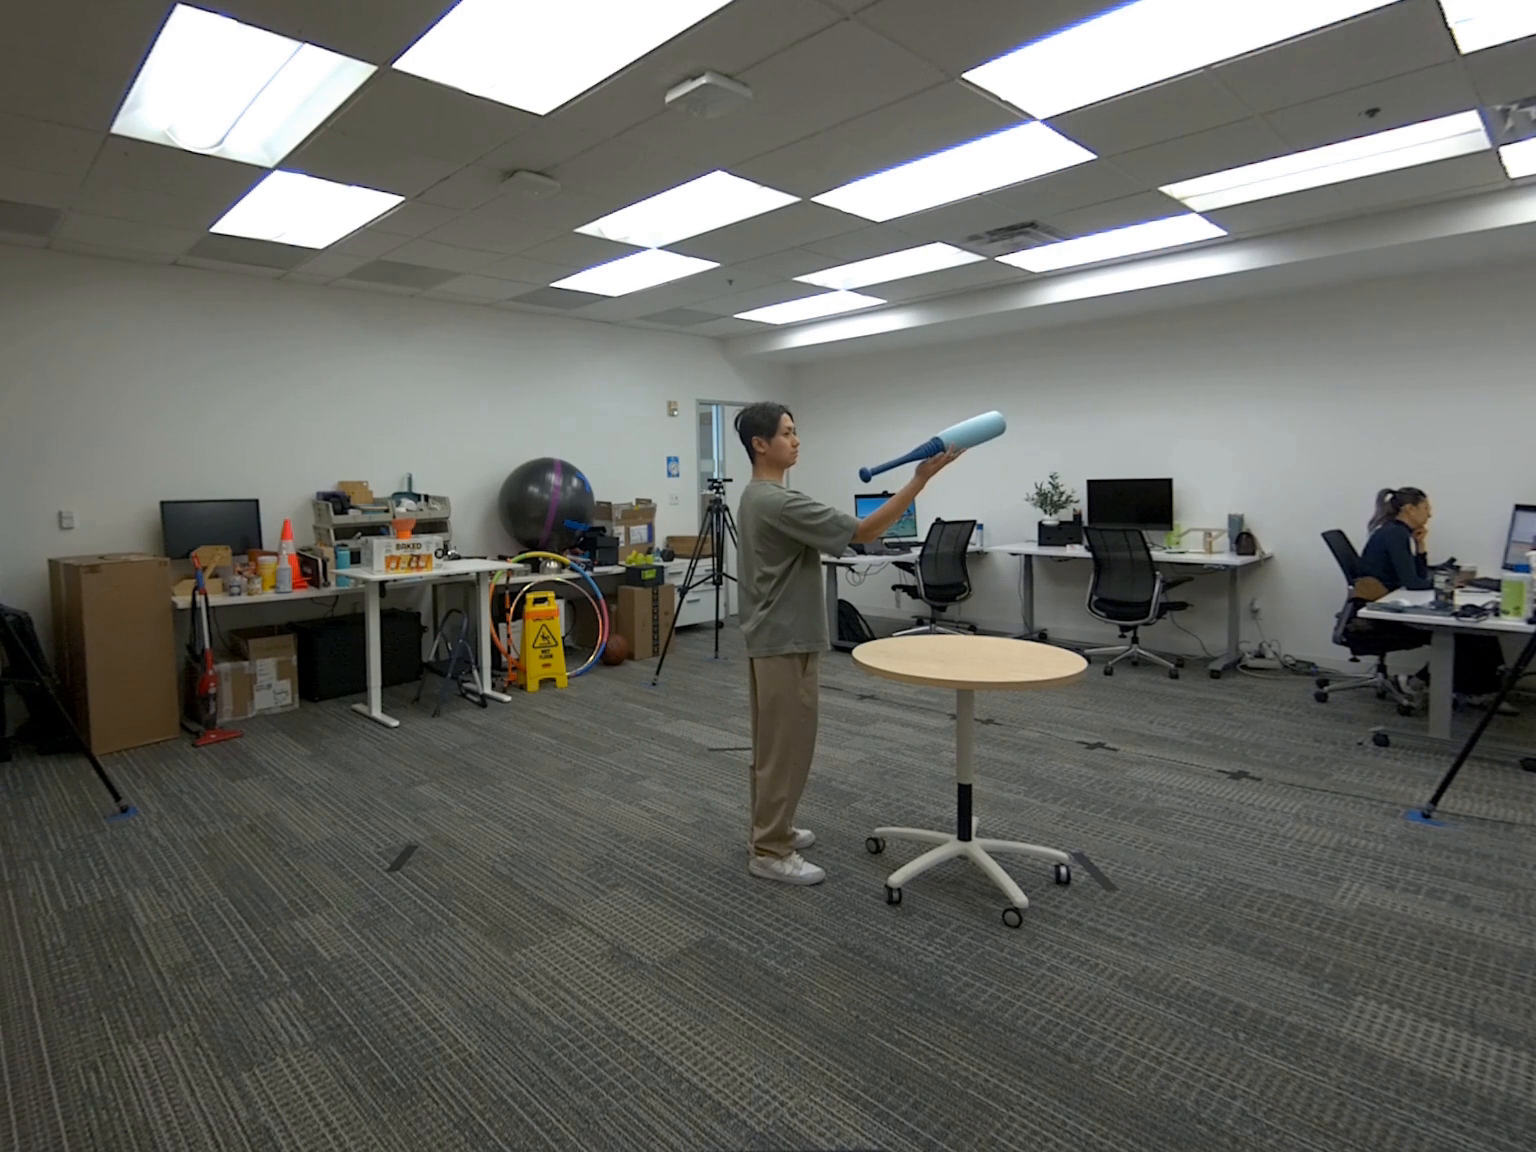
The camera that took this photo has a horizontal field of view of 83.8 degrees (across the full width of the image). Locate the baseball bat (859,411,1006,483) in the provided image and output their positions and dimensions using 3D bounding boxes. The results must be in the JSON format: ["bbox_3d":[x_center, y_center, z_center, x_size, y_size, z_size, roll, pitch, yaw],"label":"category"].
[{"bbox_3d":[0.528,-0.409,2.737,0.538,0.088,0.091,-22,12,-17],"label":"baseball bat"}]
